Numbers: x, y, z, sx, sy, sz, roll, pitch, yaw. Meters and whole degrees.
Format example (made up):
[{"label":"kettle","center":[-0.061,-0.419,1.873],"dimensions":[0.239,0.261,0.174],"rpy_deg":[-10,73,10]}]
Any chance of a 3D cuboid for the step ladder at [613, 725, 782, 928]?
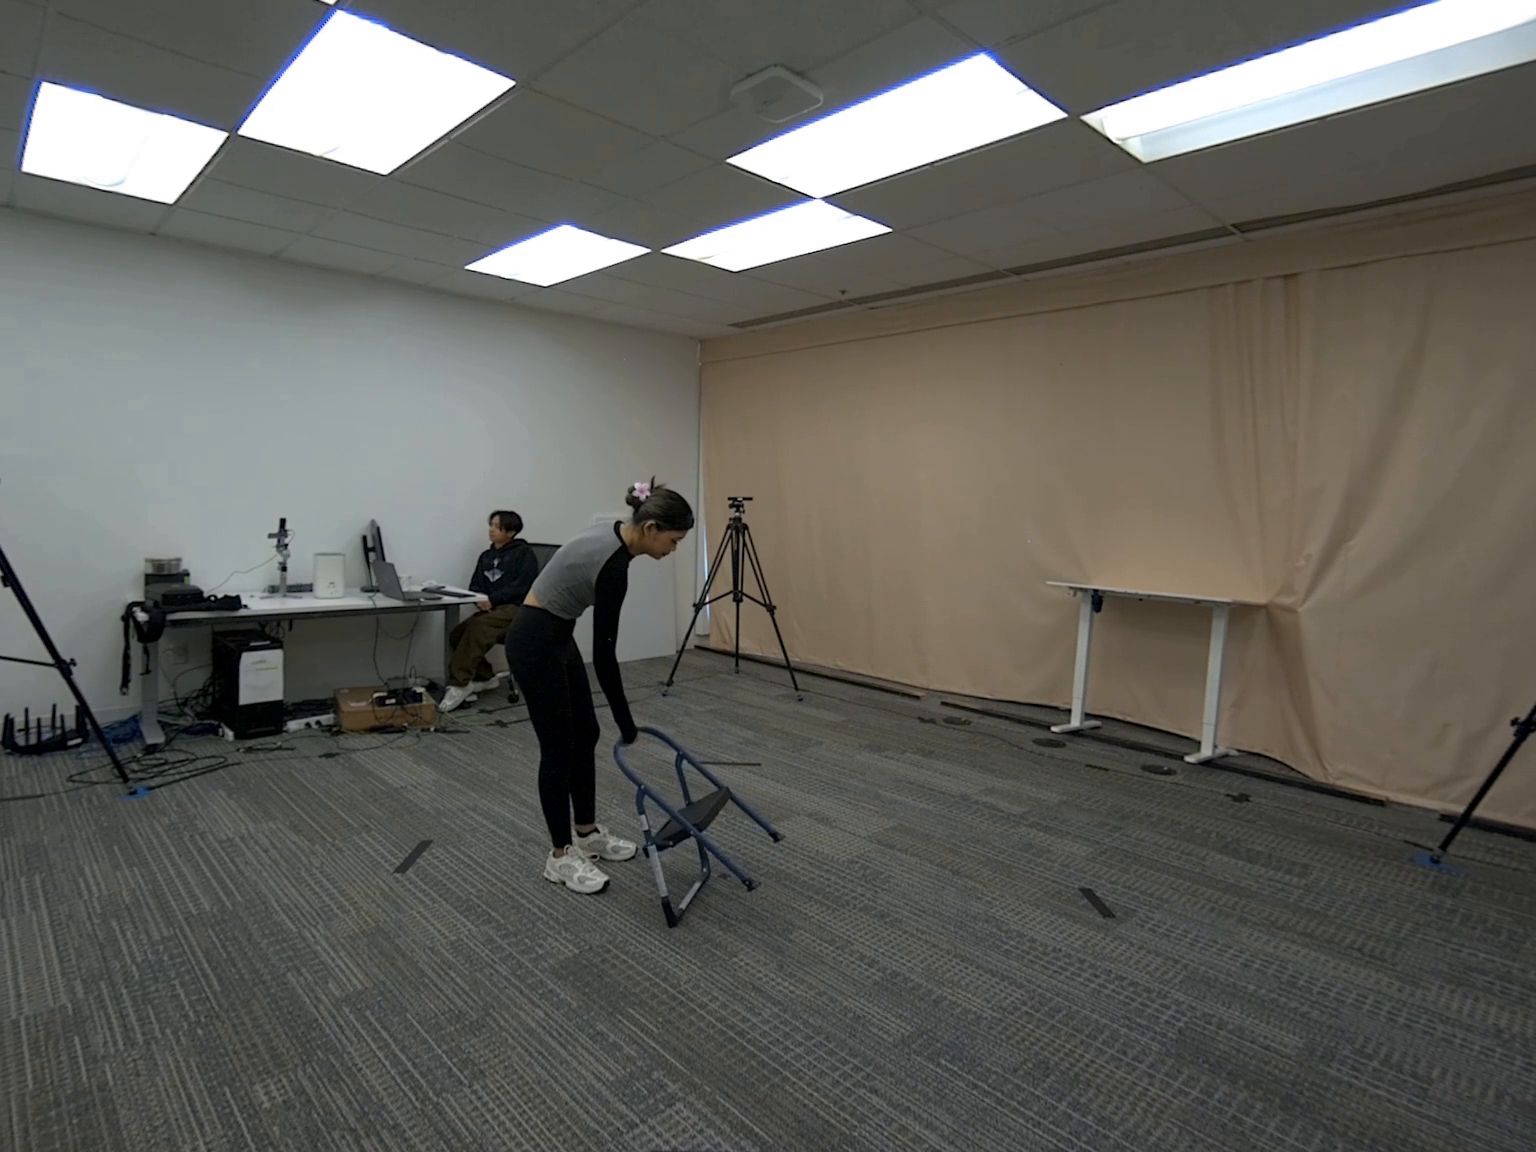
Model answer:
[{"label":"step ladder","center":[-0.282,0.786,2.908],"dimensions":[0.351,0.609,0.426],"rpy_deg":[-31,-5,13]}]
